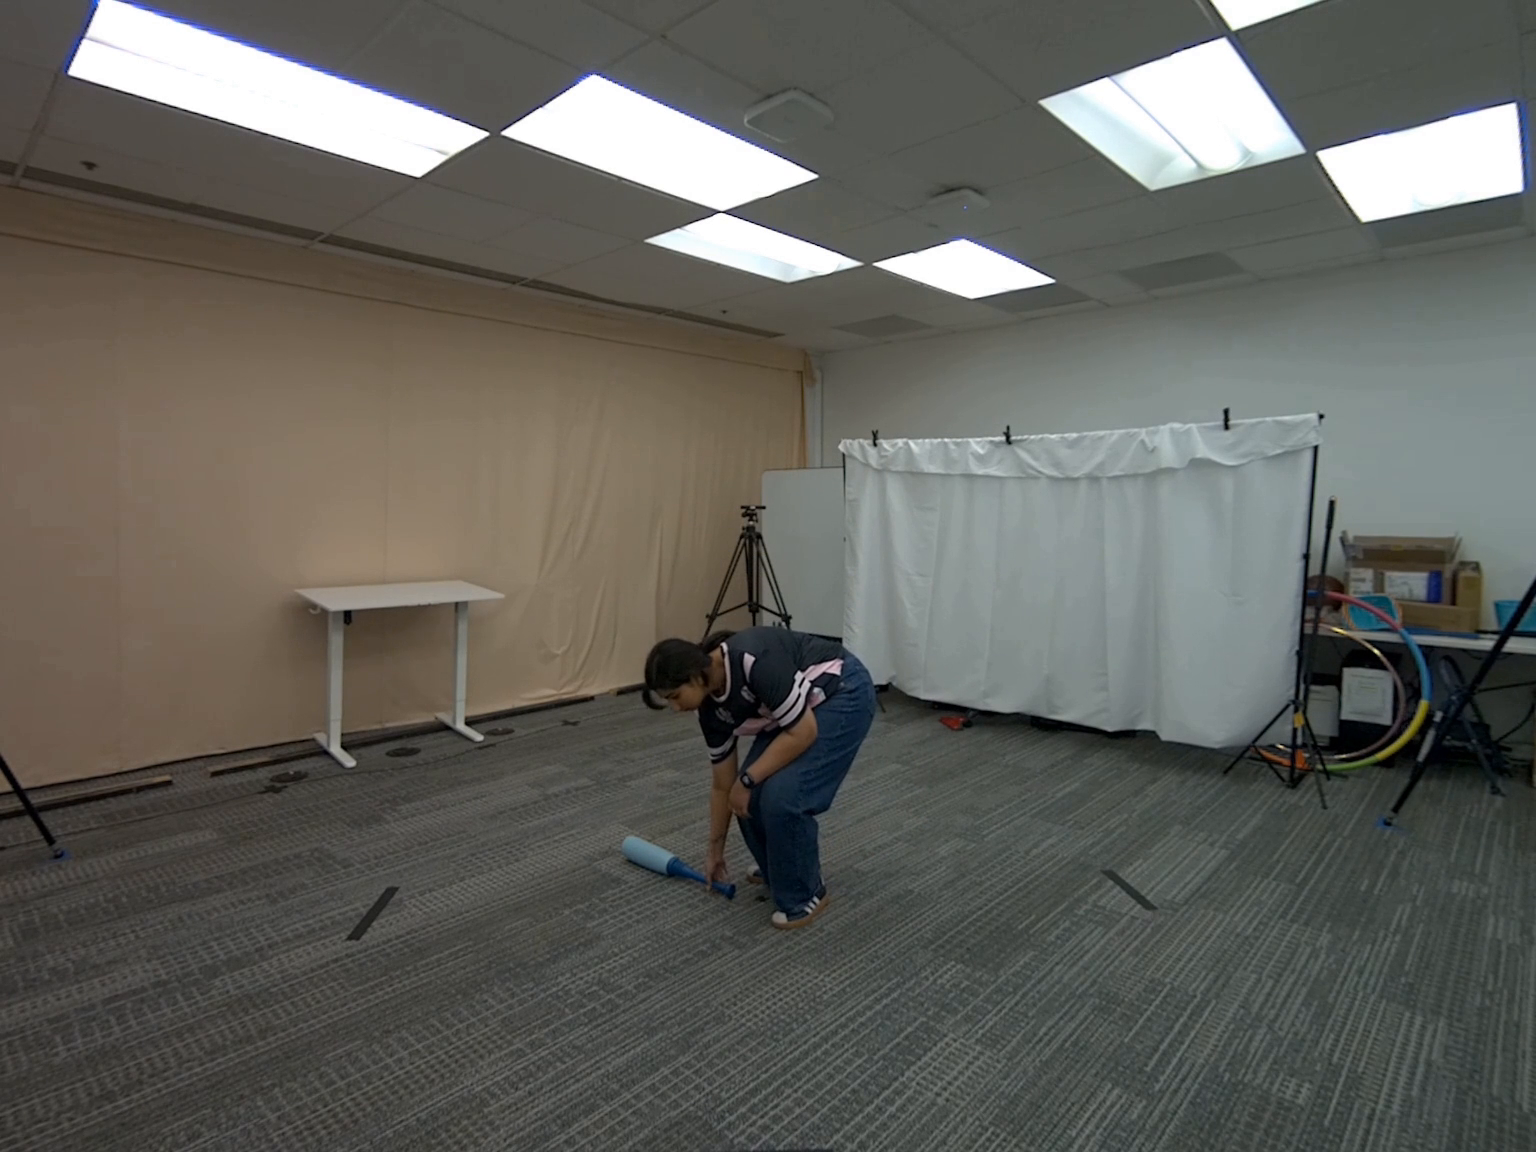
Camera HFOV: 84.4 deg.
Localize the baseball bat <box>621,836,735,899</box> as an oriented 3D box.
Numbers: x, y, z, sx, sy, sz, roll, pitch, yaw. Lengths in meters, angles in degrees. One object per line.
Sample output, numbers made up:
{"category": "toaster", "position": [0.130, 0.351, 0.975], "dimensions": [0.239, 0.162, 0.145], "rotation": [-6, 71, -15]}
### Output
{"category": "baseball bat", "position": [-0.342, 1.094, 3.157], "dimensions": [0.561, 0.089, 0.086], "rotation": [7, 7, 40]}
